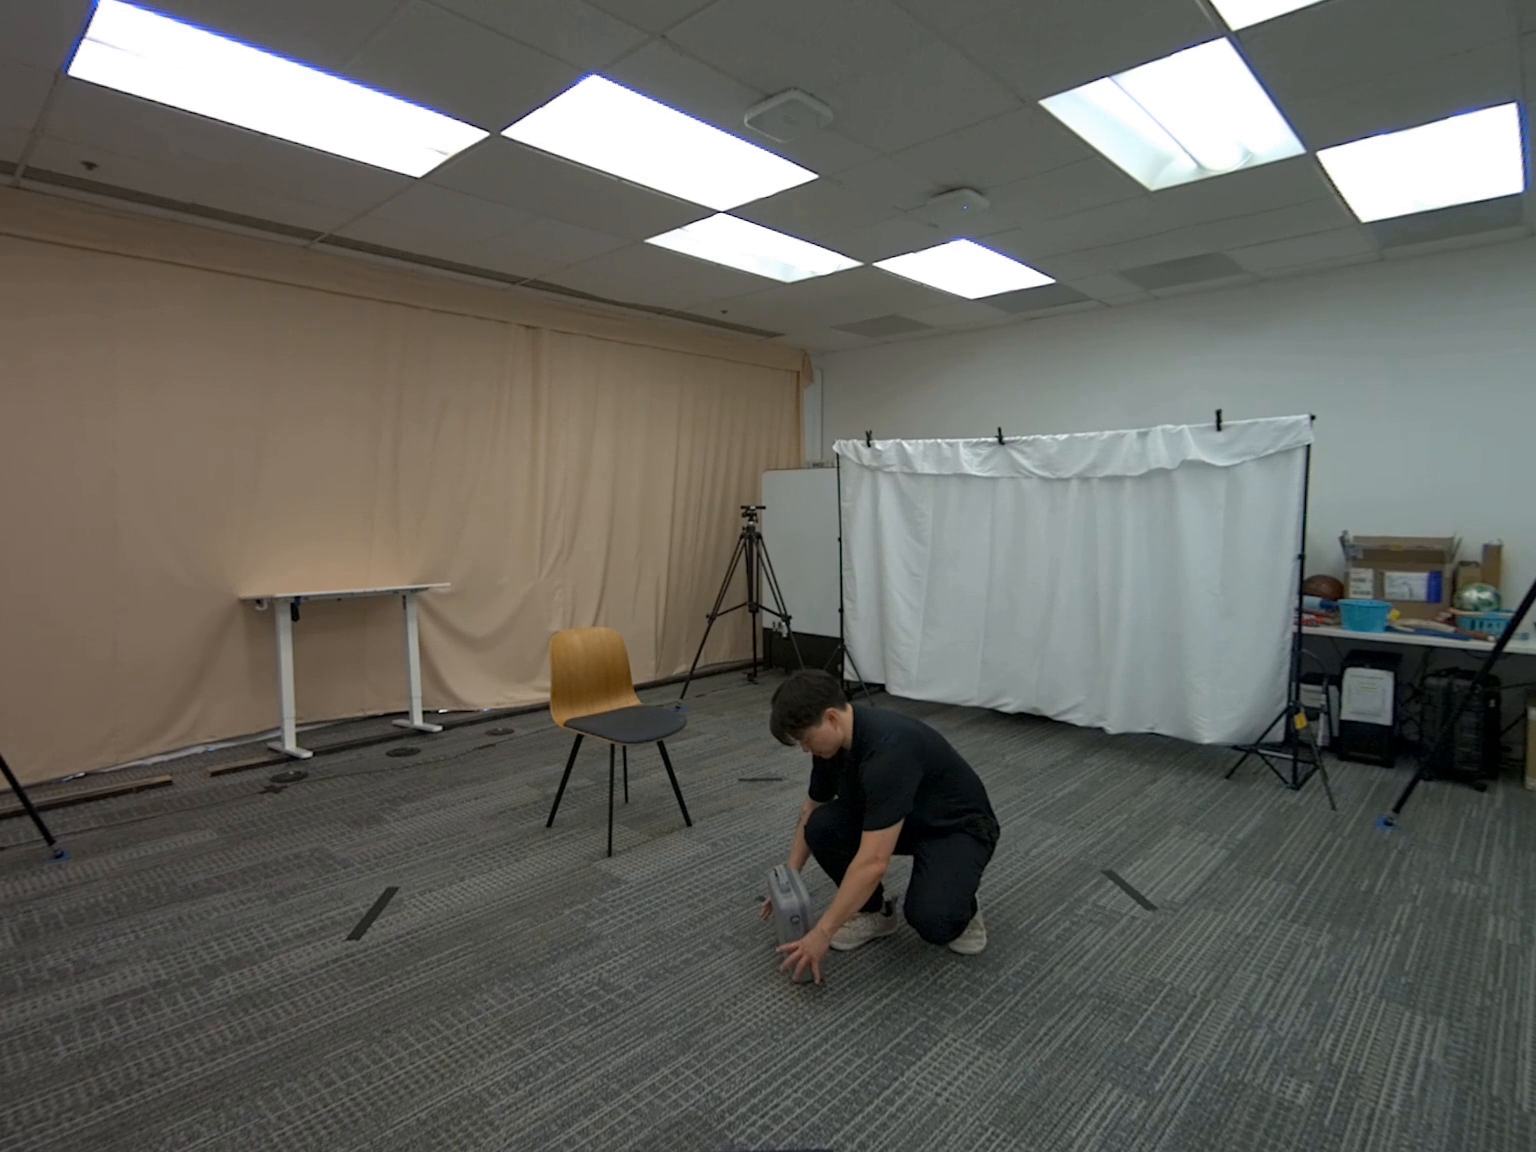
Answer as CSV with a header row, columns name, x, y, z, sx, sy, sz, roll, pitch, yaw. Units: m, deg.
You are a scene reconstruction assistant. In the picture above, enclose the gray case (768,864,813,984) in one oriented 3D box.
name,x,y,z,sx,sy,sz,roll,pitch,yaw
gray case,0.081,1.052,2.554,0.104,0.259,0.259,-11,6,-7
